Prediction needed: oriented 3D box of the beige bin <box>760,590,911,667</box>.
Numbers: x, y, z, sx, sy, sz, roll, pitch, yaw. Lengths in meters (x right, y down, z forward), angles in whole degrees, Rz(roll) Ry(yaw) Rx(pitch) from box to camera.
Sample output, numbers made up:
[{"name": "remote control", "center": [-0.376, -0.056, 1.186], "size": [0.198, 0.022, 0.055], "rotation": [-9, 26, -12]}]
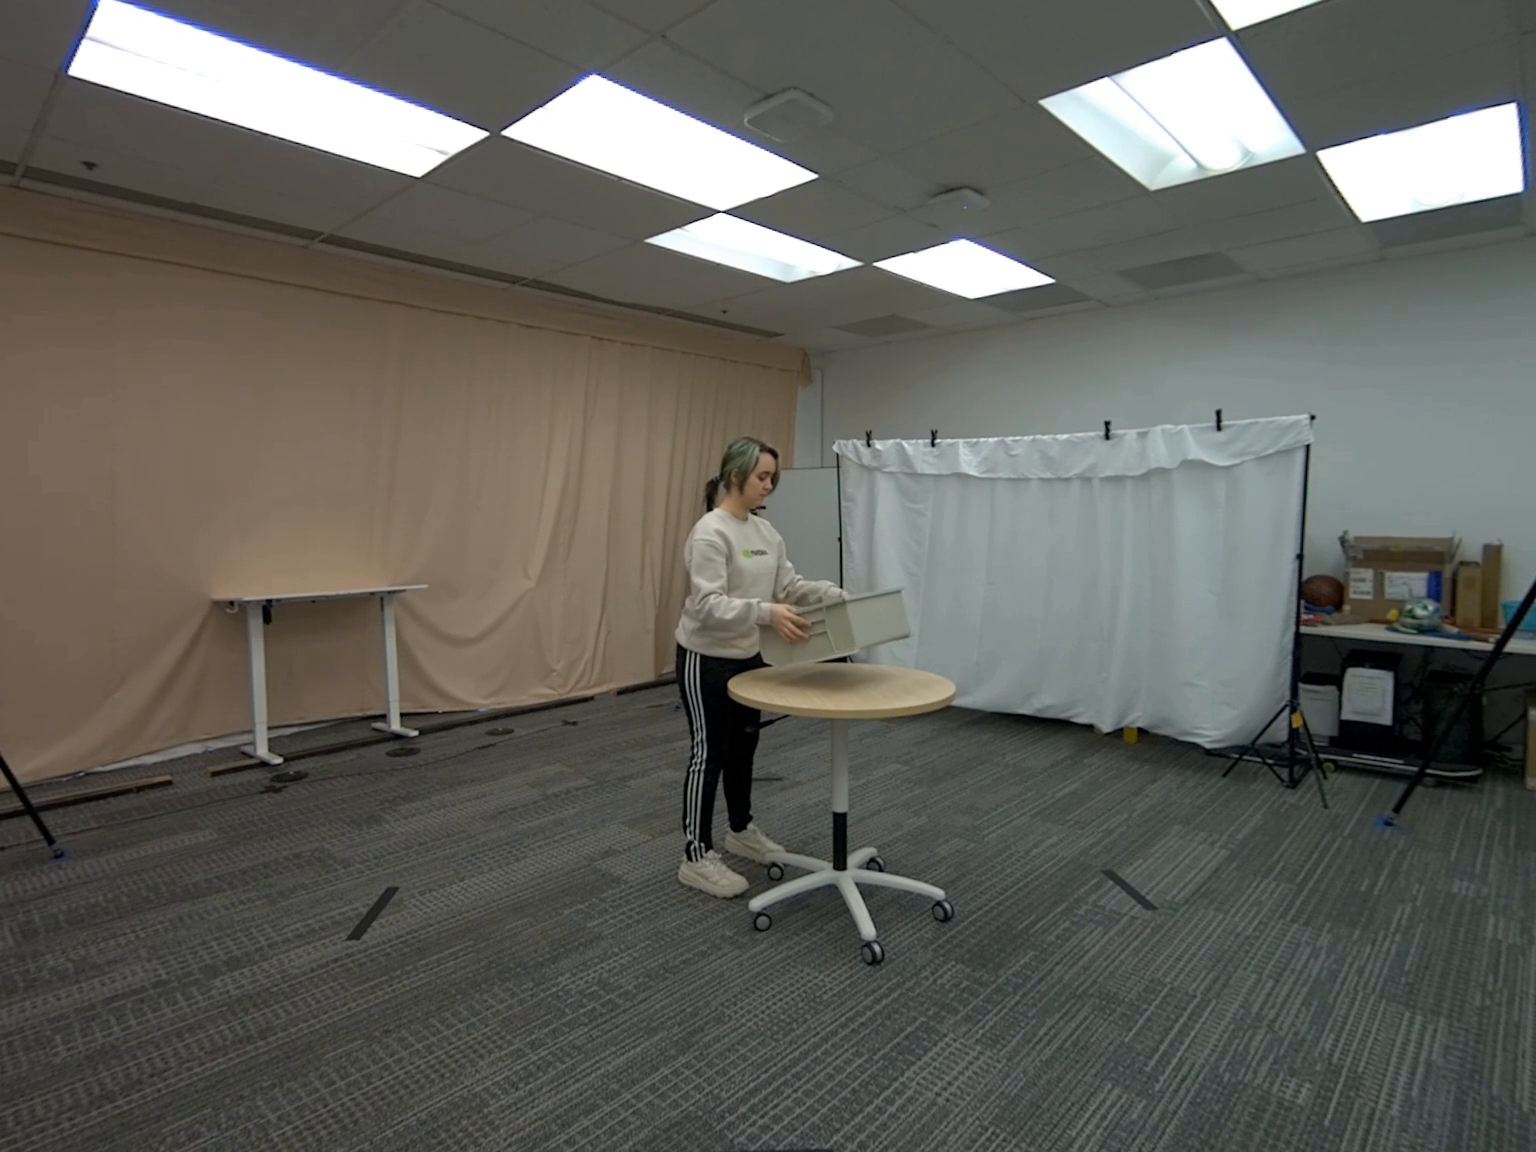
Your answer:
[{"name": "beige bin", "center": [0.239, 0.178, 2.904], "size": [0.387, 0.190, 0.410], "rotation": [-16, -6, 37]}]
